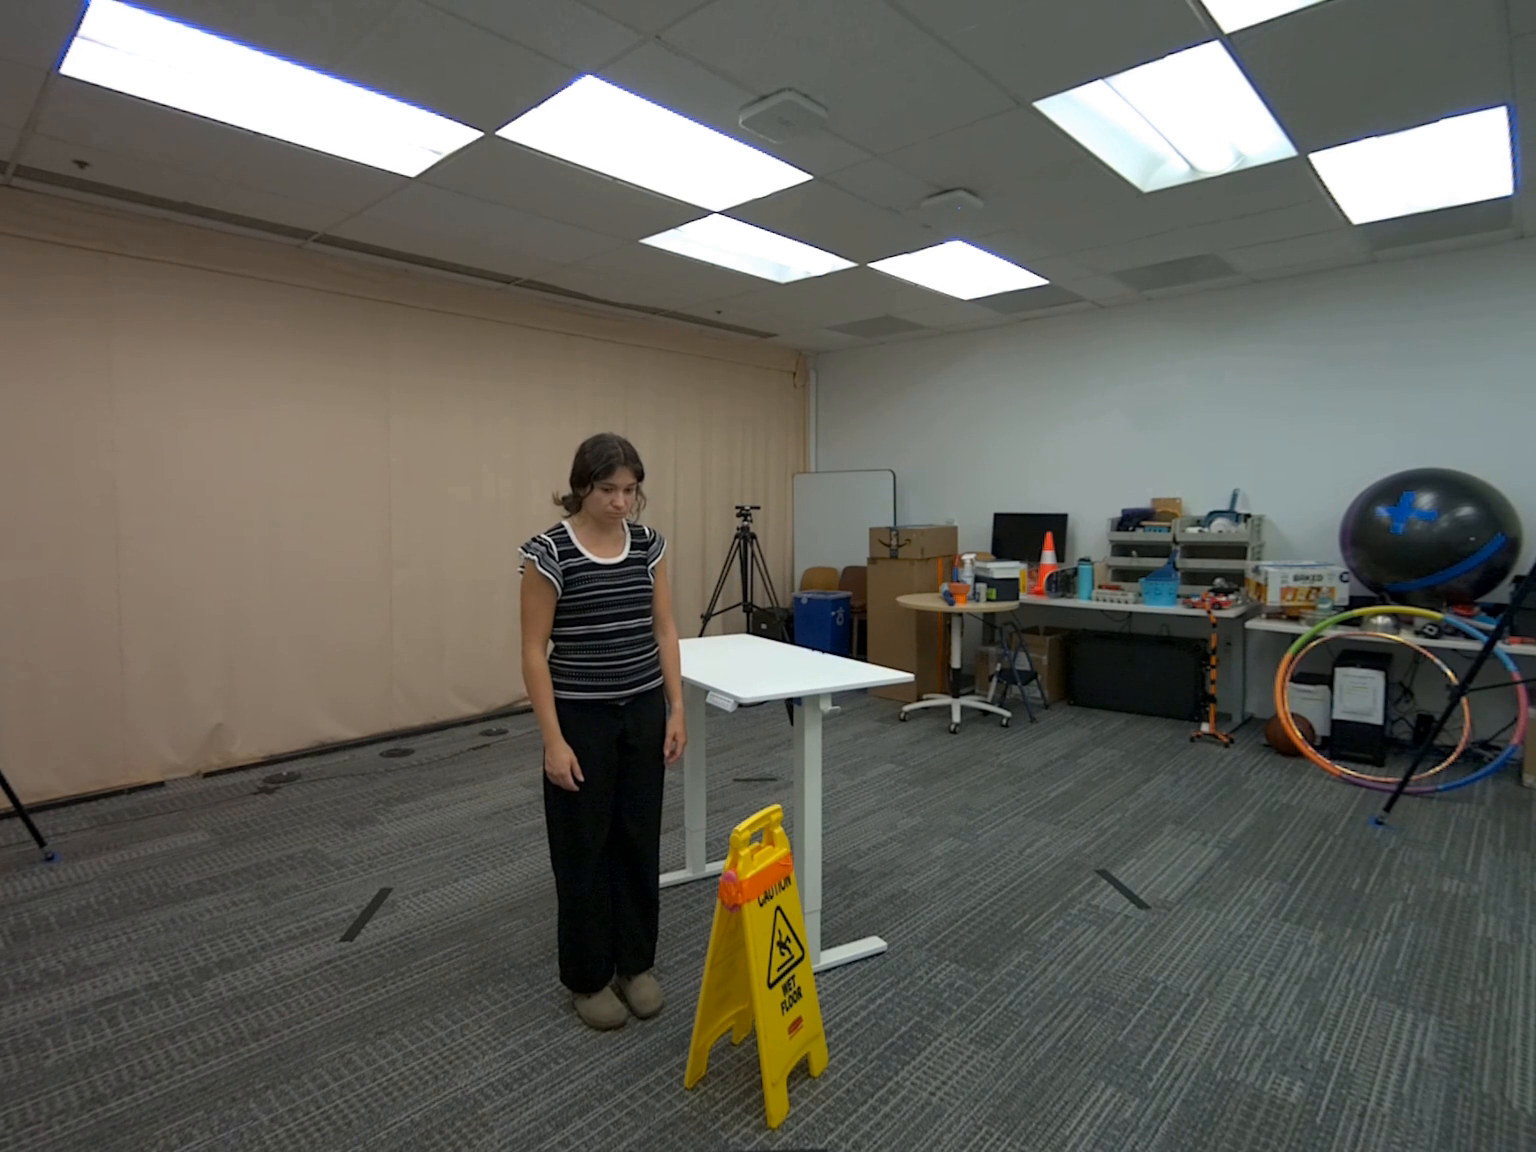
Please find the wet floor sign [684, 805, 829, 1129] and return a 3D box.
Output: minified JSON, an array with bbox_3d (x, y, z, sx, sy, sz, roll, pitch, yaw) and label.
[{"bbox_3d":[-0.022,0.904,2.031,0.298,0.645,0.274,2,4,33],"label":"wet floor sign"}]
